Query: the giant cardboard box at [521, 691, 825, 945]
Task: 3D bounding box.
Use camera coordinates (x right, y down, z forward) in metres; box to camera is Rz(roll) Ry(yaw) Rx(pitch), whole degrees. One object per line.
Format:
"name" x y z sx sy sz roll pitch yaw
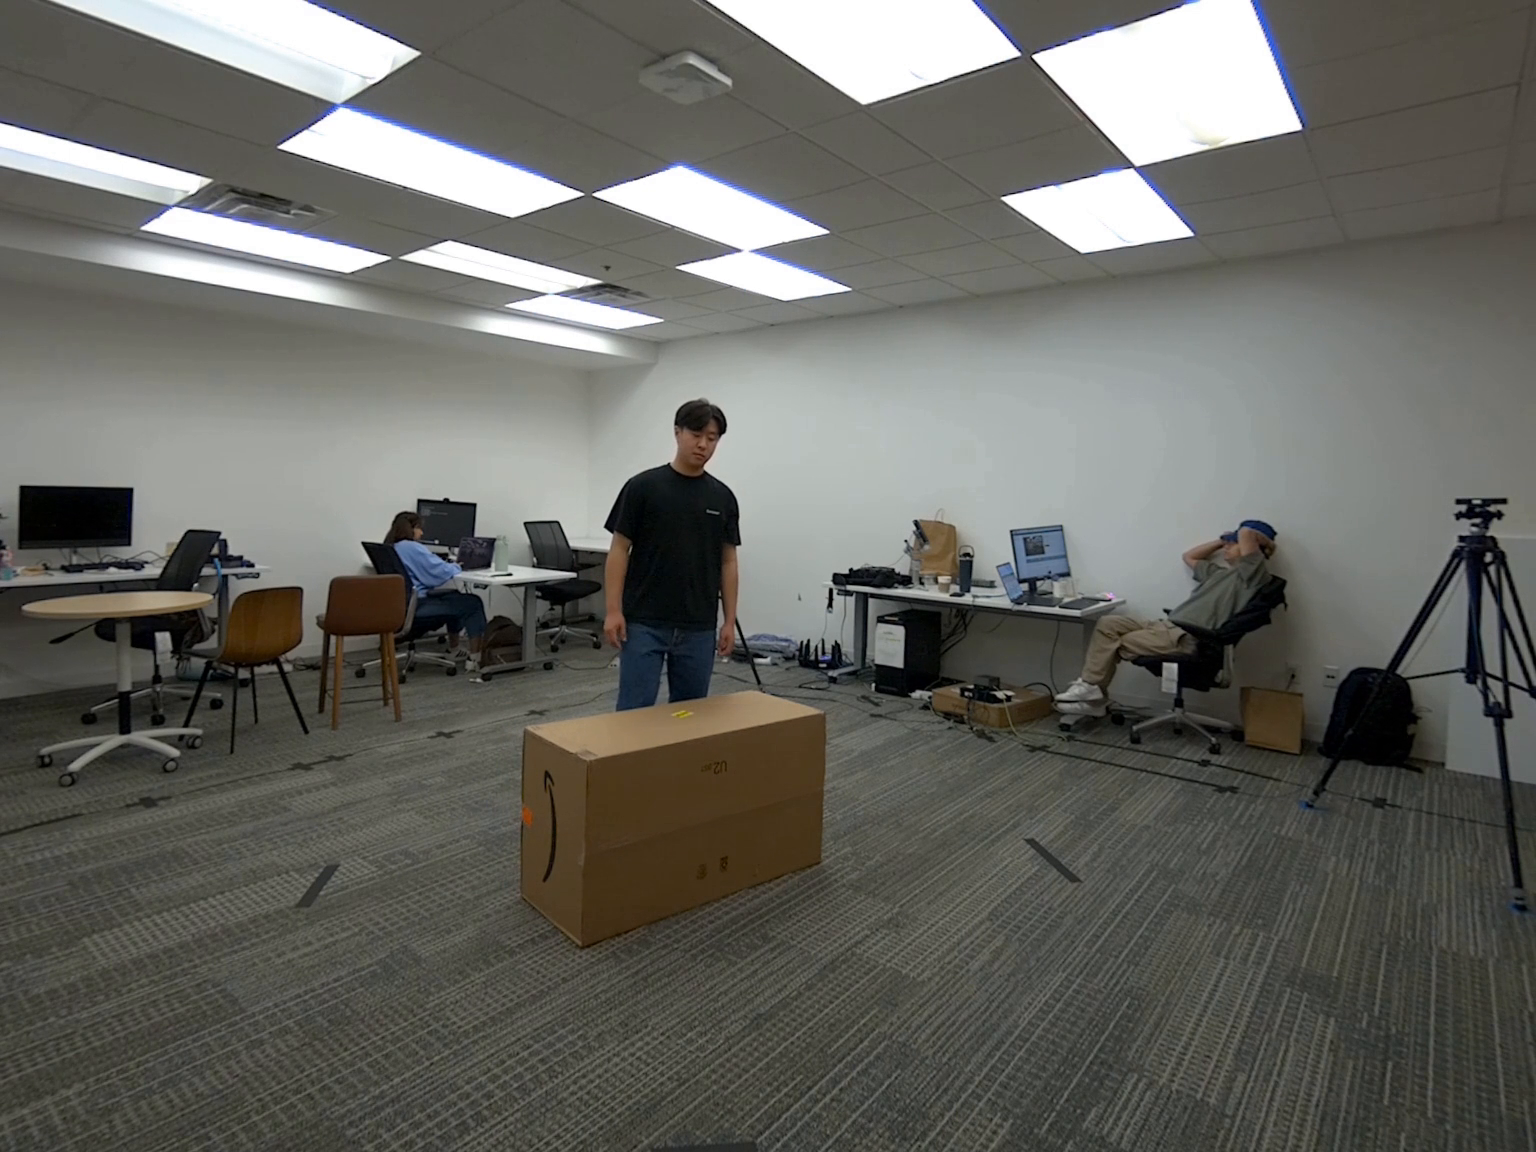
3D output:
"giant cardboard box" -0.320 0.792 3.013 0.996 0.583 0.462 -2 4 -40
